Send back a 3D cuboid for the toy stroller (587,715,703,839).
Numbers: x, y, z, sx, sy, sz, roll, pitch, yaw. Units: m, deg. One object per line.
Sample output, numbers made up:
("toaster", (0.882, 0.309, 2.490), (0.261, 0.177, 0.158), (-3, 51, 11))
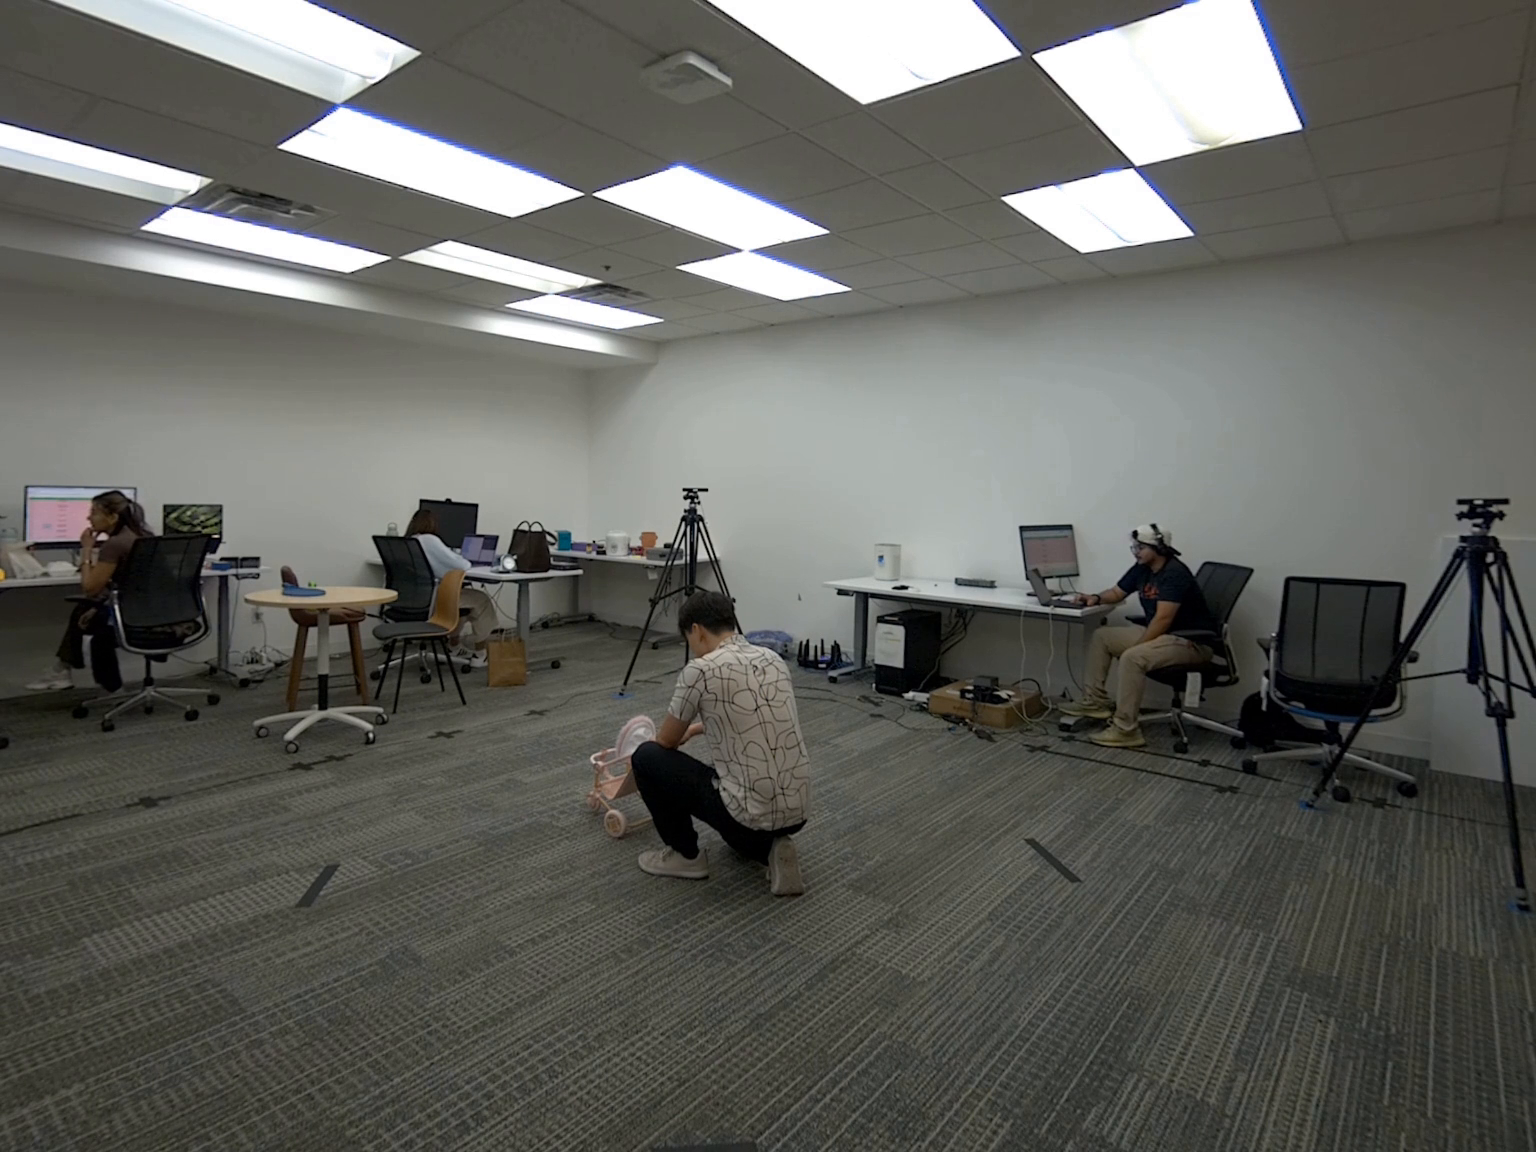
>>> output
("toy stroller", (-0.583, 0.800, 3.503), (0.355, 0.530, 0.273), (30, 19, 36))
